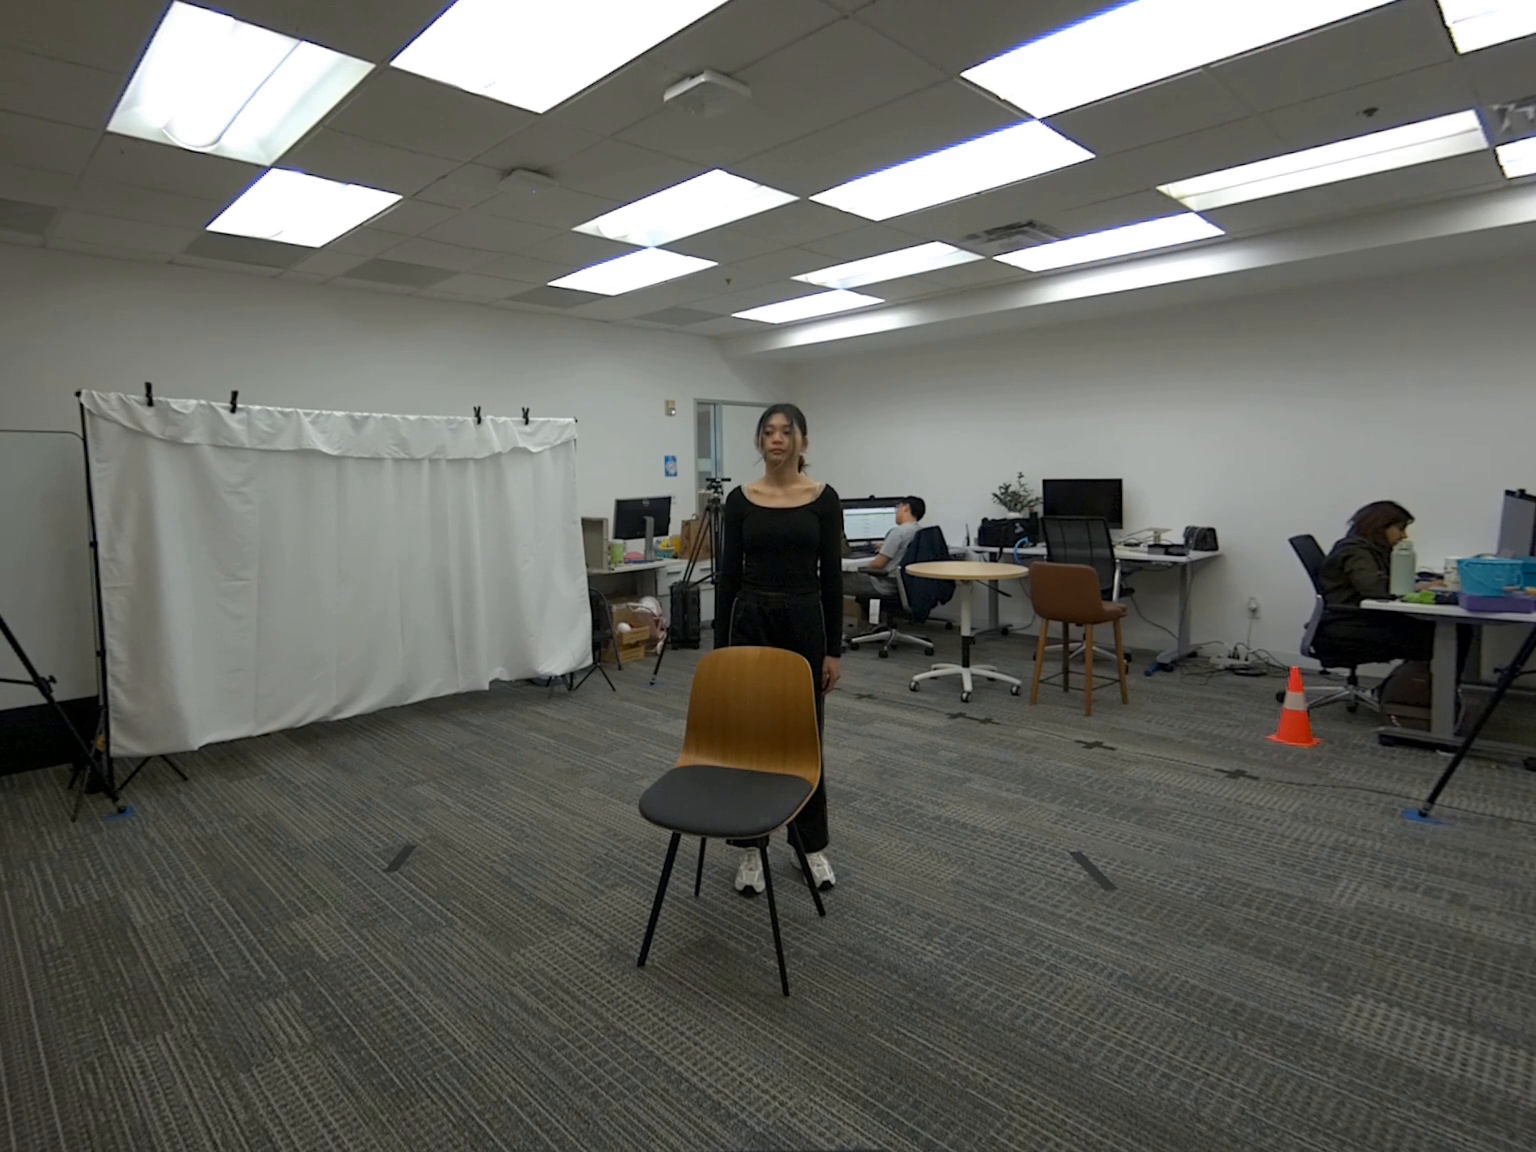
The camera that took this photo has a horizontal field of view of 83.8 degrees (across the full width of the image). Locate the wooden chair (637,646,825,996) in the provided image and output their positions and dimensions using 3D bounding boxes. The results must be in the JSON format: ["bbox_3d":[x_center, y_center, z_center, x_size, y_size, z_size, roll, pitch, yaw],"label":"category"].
[{"bbox_3d":[-0.099,0.681,2.551,0.487,0.877,0.514,1,0,19],"label":"wooden chair"}]
